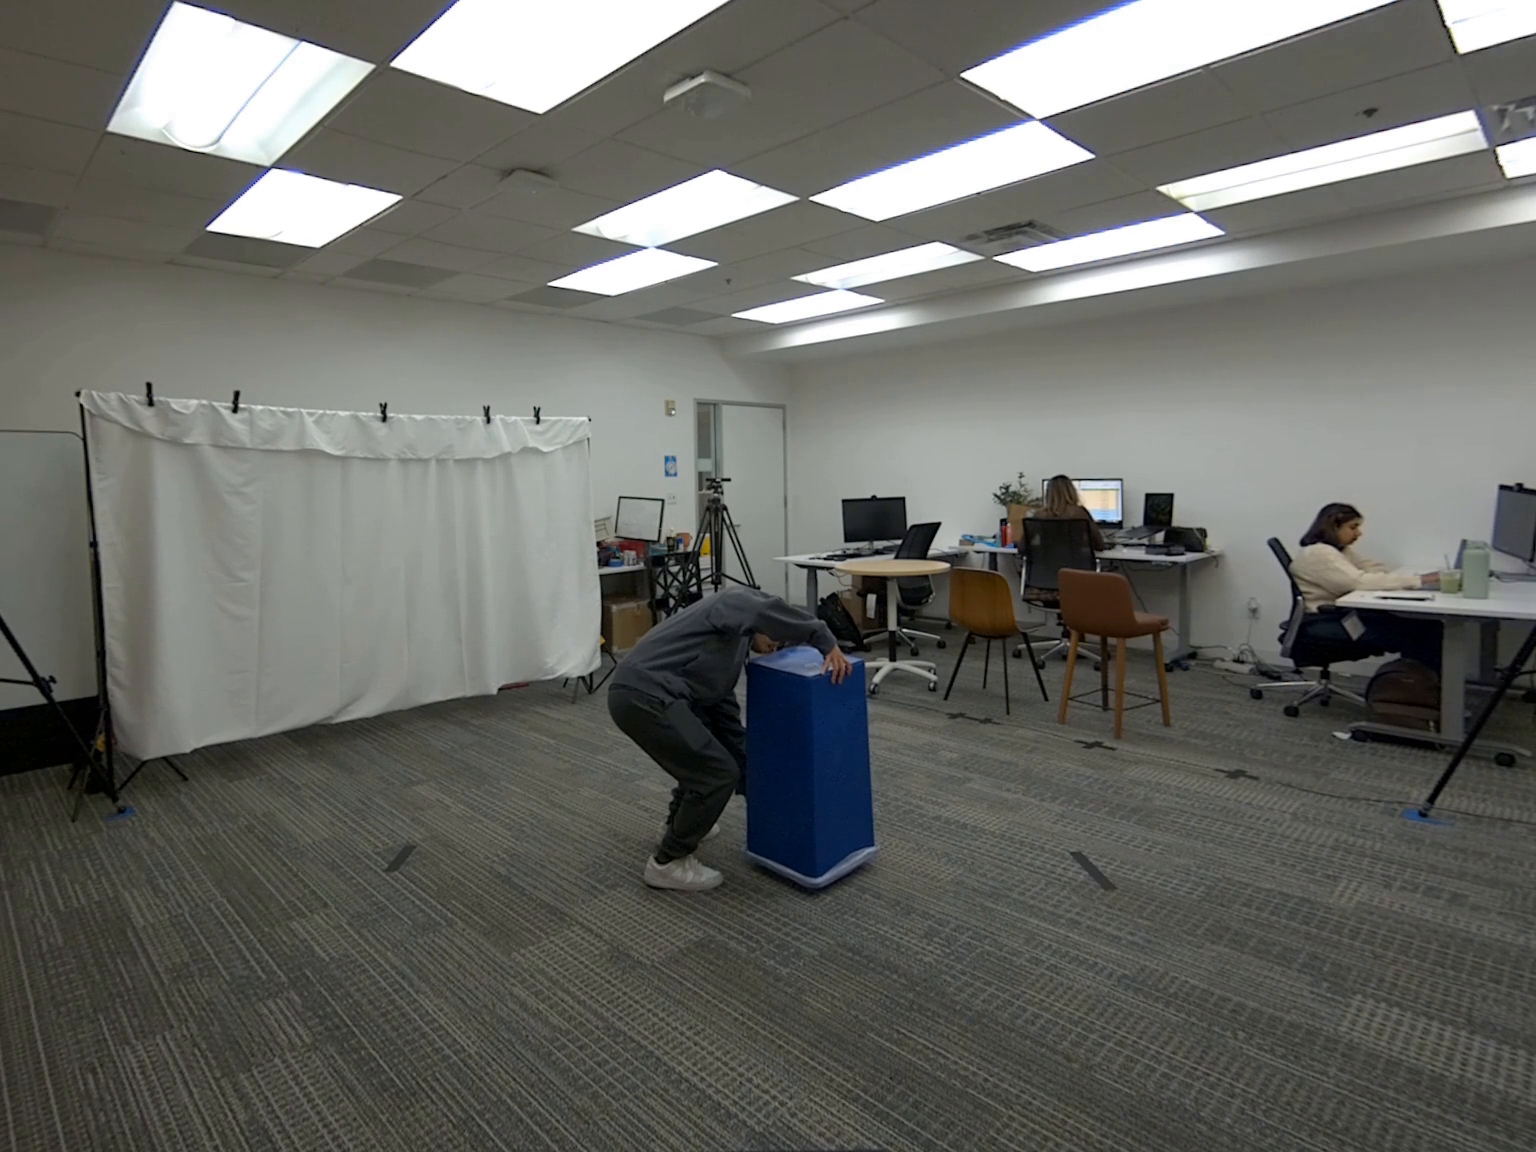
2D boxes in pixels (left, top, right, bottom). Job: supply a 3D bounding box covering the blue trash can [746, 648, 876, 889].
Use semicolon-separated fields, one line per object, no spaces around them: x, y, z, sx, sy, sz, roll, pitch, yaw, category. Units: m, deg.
0.146;0.651;3.030;0.368;0.708;0.386;-8;11;-44;blue trash can
